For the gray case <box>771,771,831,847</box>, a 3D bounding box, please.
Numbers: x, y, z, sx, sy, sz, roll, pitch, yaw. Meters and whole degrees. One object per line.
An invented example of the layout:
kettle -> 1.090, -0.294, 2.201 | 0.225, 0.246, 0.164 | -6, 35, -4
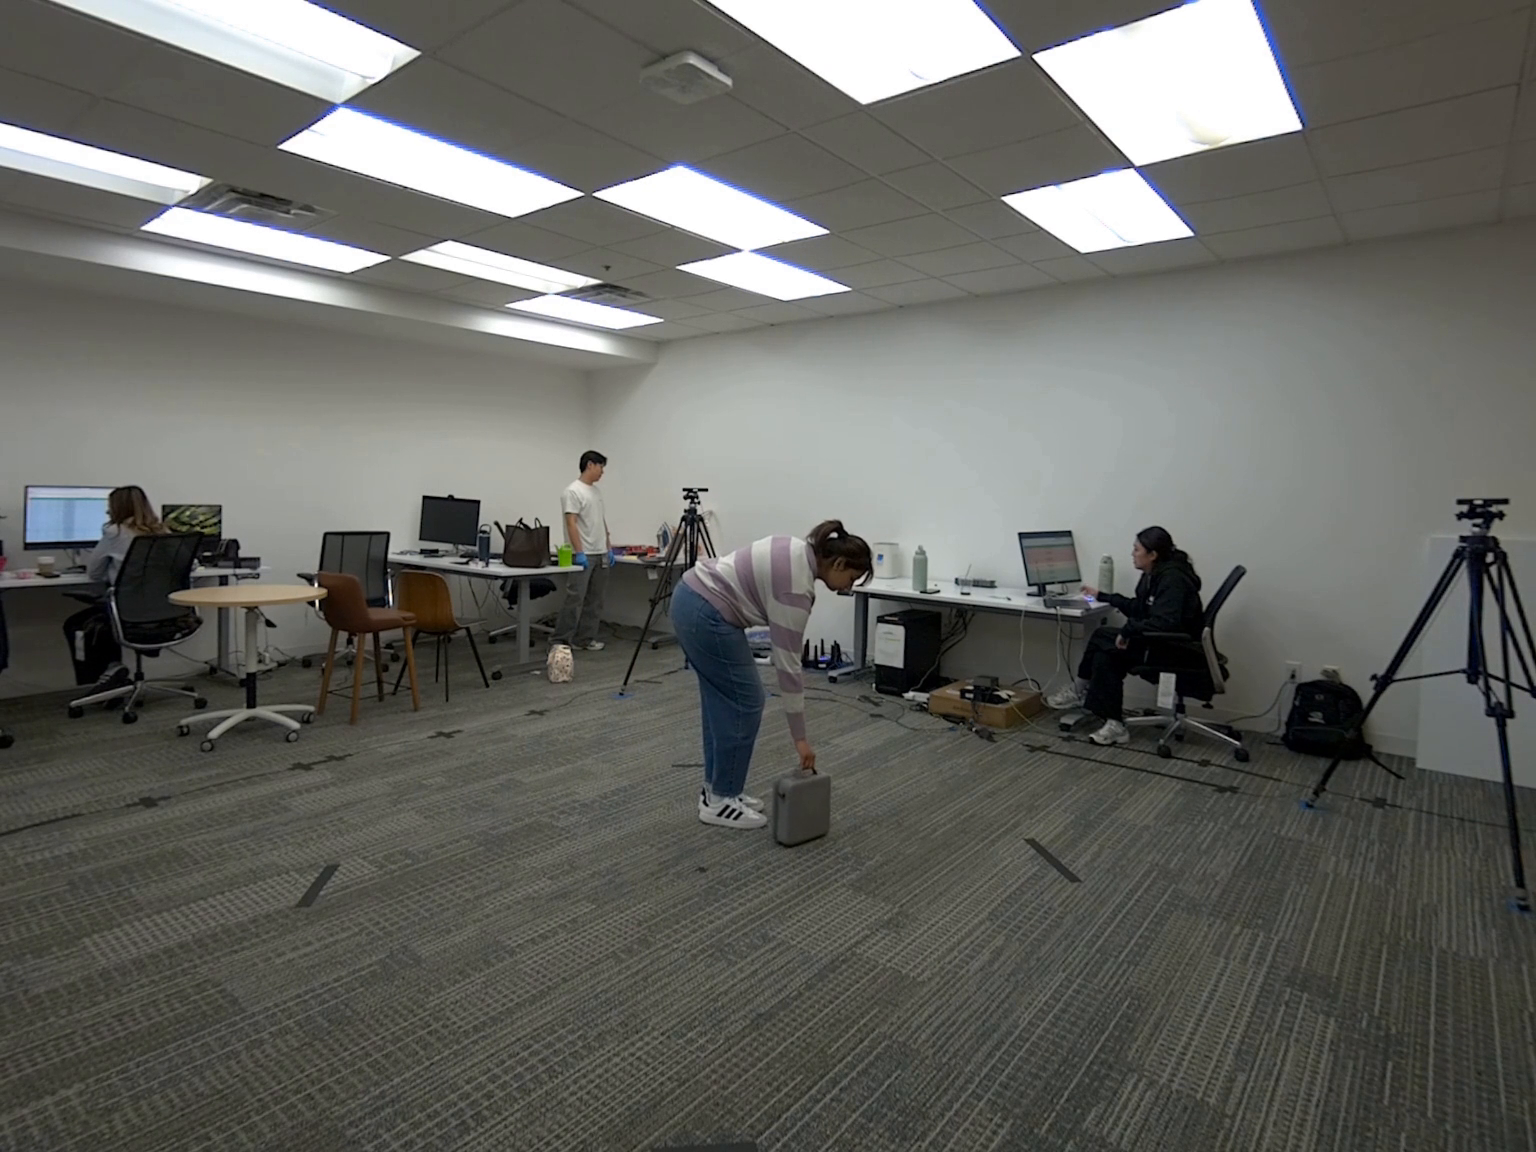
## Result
gray case -> 0.131, 0.914, 3.401 | 0.249, 0.260, 0.108 | -1, 3, -40
